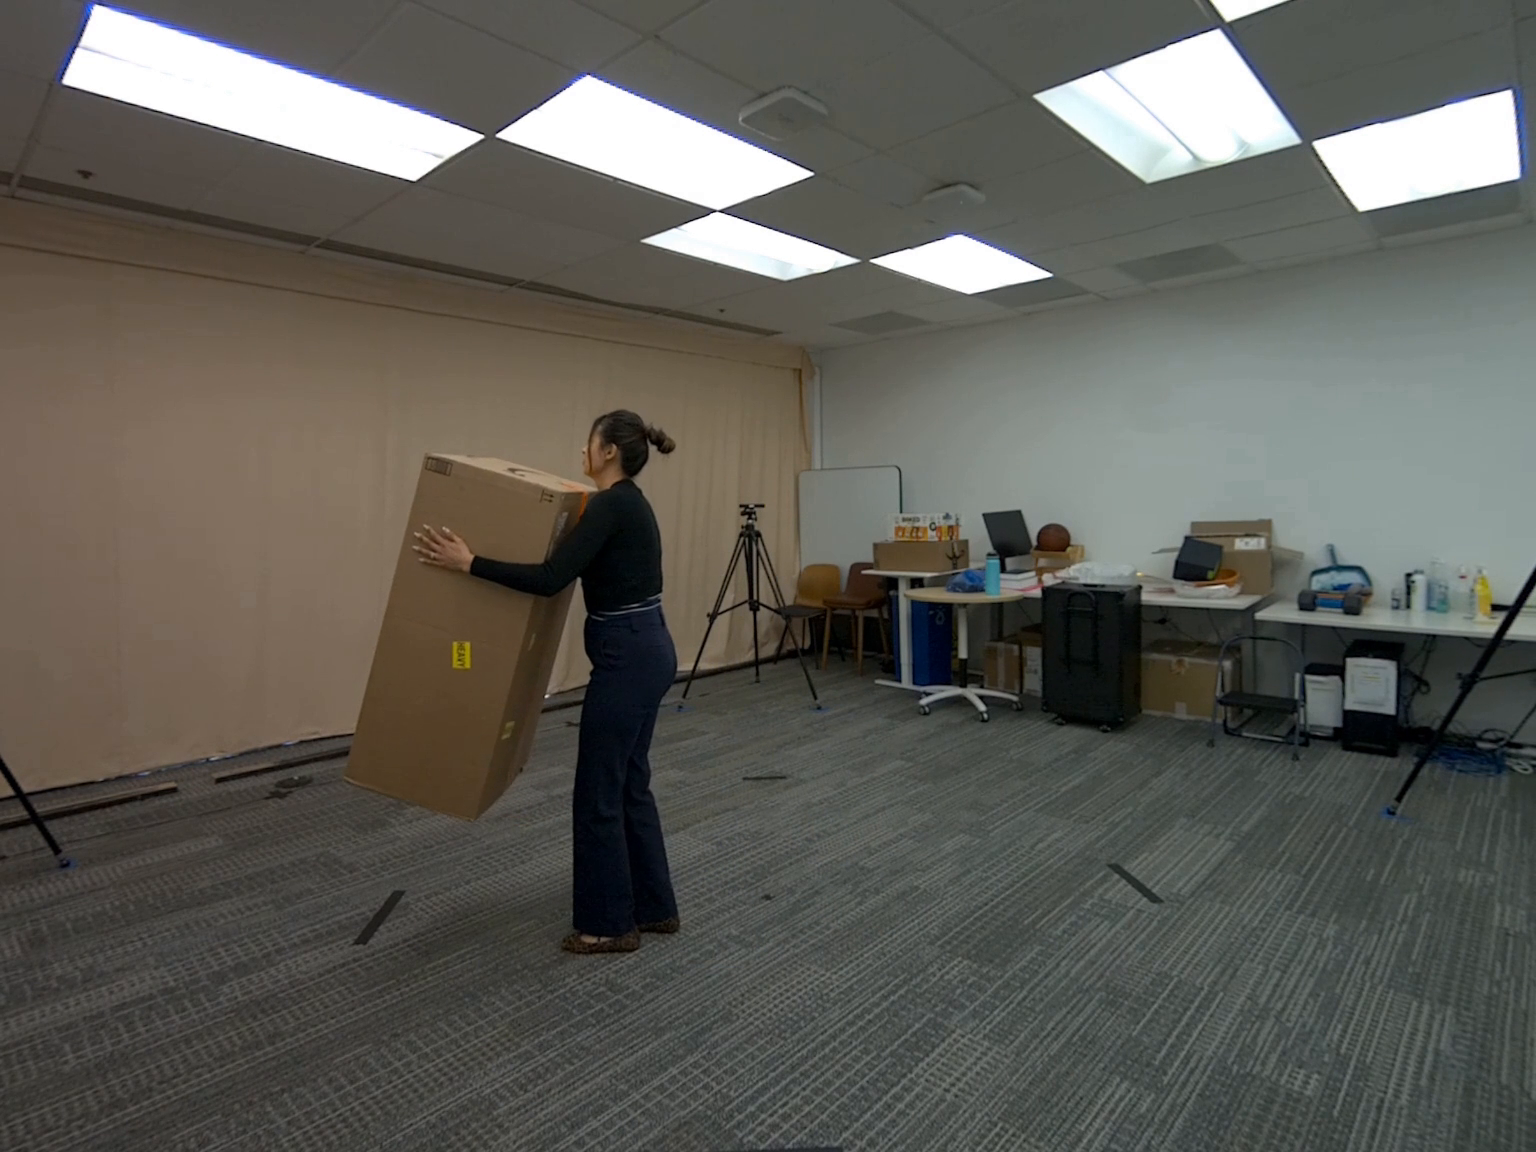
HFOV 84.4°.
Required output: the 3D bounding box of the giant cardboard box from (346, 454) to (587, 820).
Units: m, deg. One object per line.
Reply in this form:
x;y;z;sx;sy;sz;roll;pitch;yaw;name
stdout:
-0.932;0.162;2.744;0.427;1.024;0.577;16;5;0;giant cardboard box
